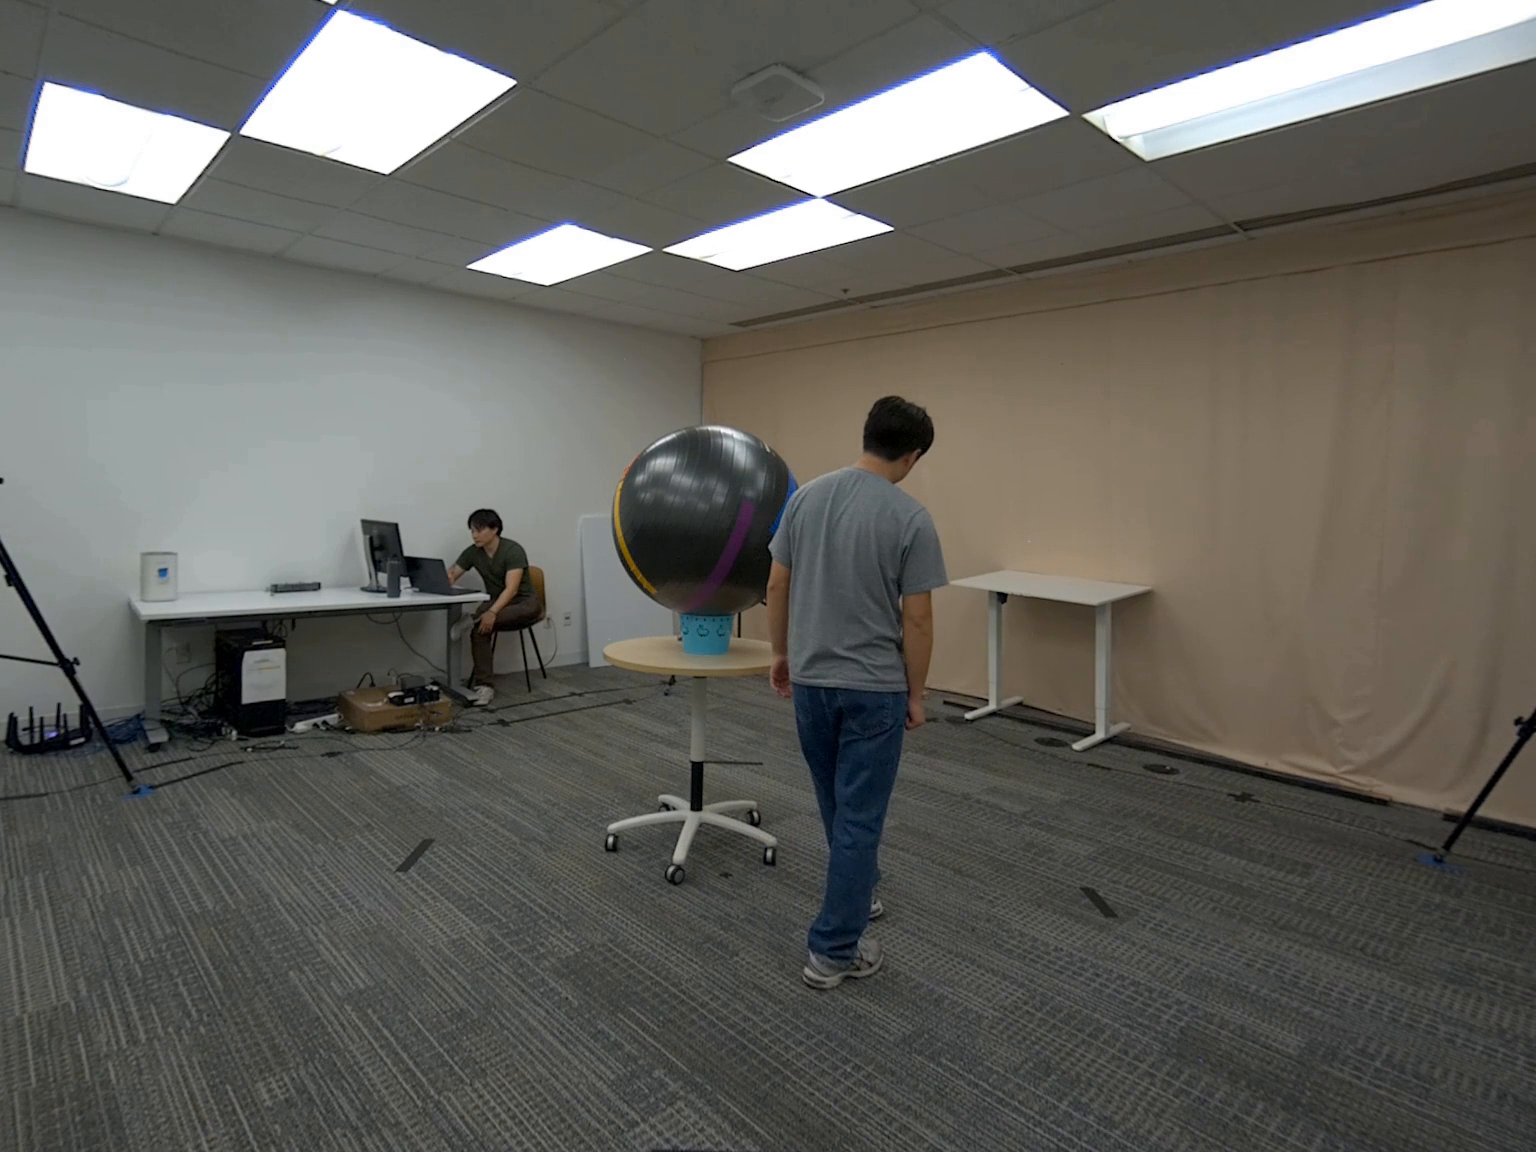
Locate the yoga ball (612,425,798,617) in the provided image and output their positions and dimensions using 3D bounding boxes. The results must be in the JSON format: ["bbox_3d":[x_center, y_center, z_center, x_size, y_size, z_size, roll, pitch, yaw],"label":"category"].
[{"bbox_3d":[-0.243,-0.214,3.329,0.757,0.756,0.761,1,4,-1],"label":"yoga ball"}]
